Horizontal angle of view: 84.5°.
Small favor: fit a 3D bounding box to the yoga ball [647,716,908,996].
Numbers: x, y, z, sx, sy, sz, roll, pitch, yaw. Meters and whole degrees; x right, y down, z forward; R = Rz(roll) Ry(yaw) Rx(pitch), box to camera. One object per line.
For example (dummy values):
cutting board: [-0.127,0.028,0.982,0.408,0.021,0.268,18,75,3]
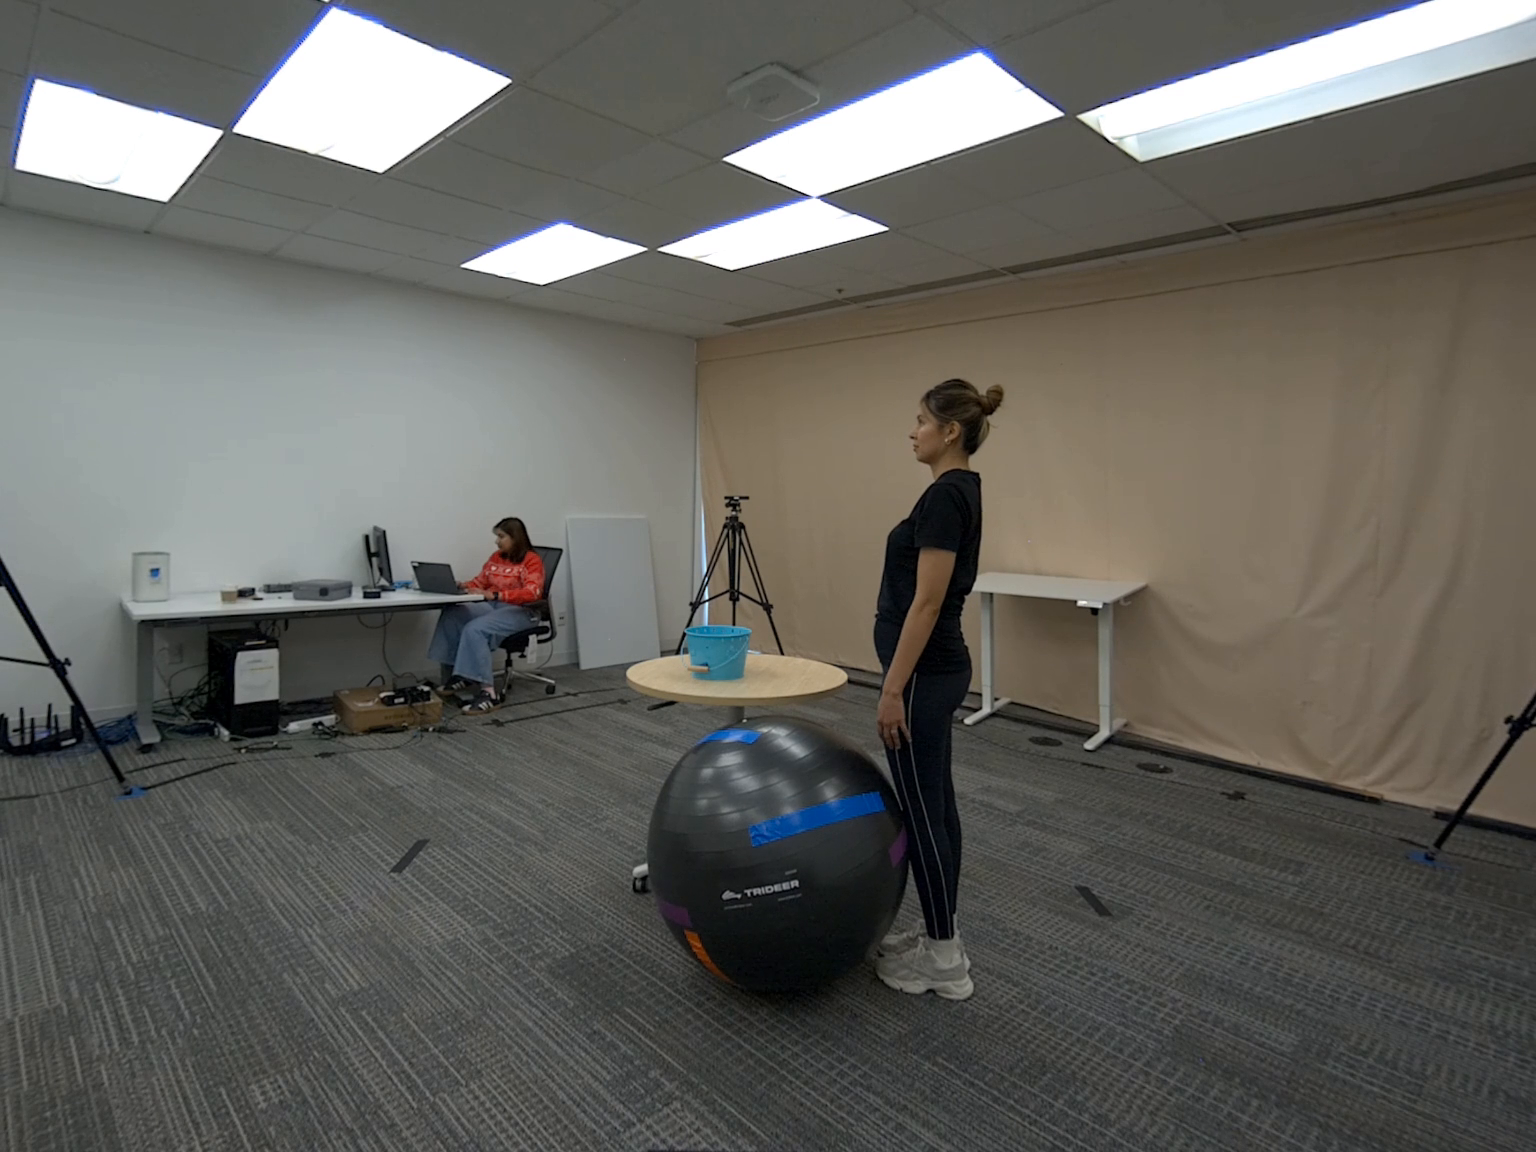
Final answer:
yoga ball: [0.023,0.809,2.439,0.757,0.756,0.761,1,4,-1]
